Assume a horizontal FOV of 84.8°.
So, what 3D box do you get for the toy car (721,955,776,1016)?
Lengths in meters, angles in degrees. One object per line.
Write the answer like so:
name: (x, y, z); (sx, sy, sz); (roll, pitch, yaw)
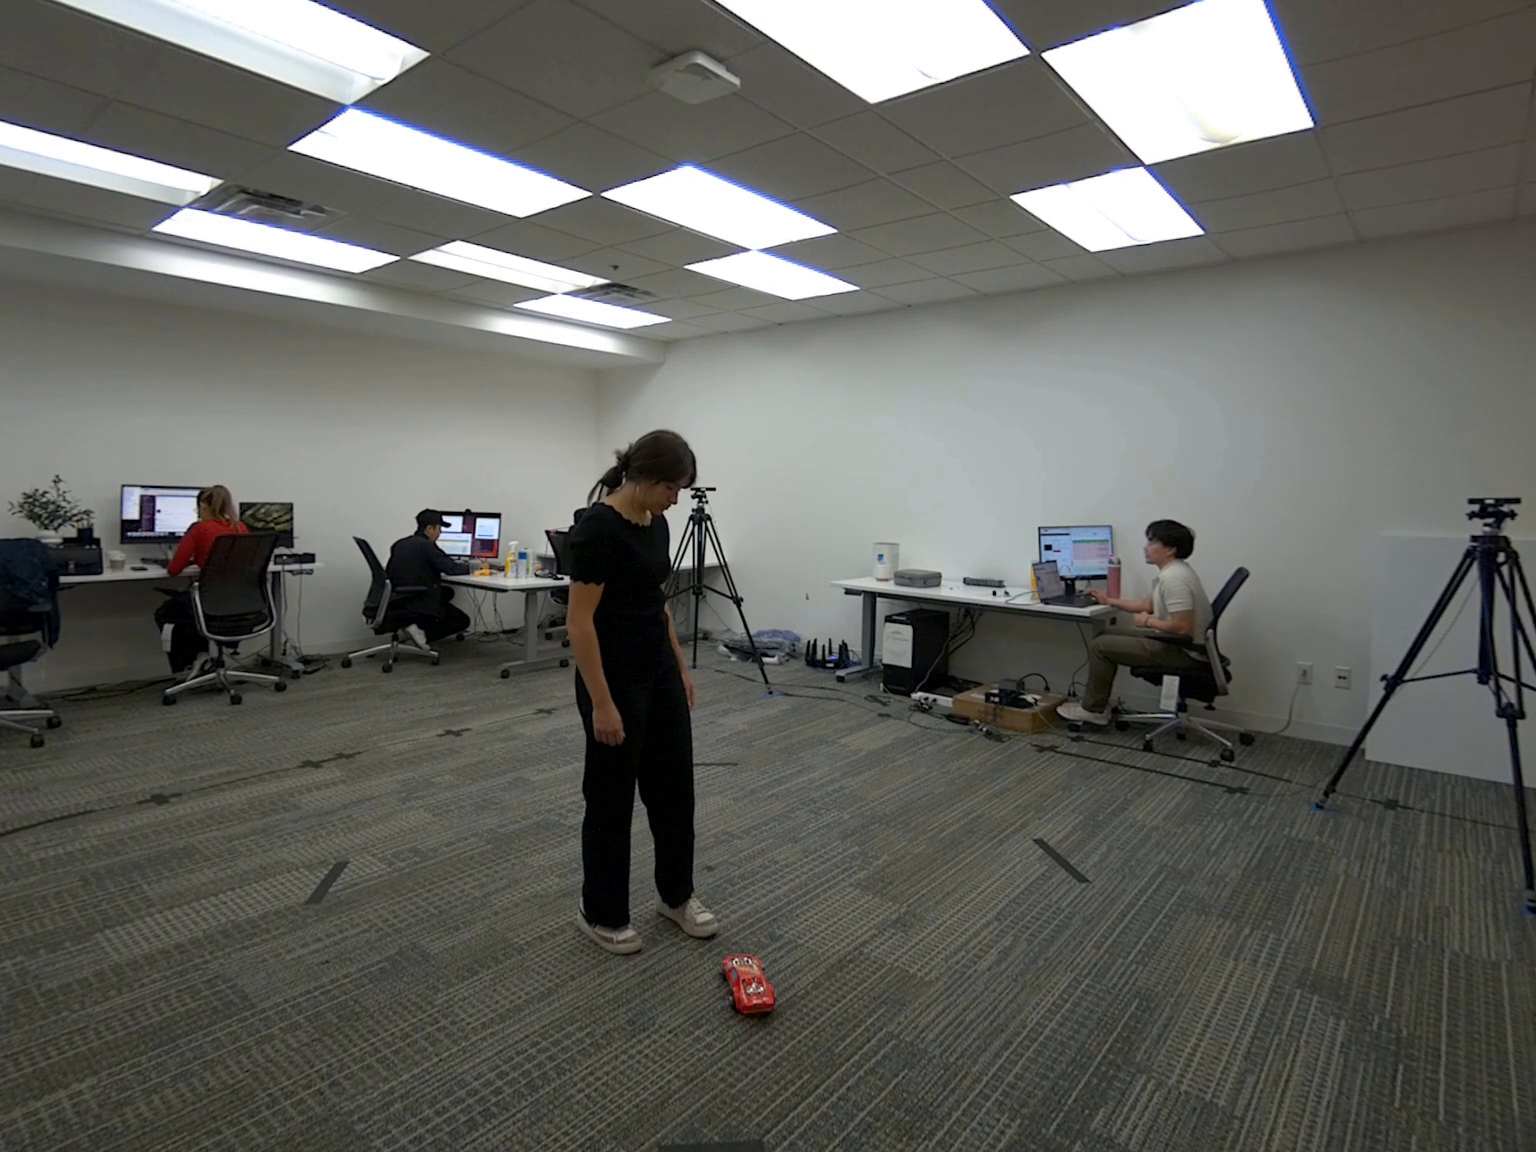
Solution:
toy car: (-0.059, 1.116, 2.320); (0.128, 0.084, 0.256); (0, -5, -13)
